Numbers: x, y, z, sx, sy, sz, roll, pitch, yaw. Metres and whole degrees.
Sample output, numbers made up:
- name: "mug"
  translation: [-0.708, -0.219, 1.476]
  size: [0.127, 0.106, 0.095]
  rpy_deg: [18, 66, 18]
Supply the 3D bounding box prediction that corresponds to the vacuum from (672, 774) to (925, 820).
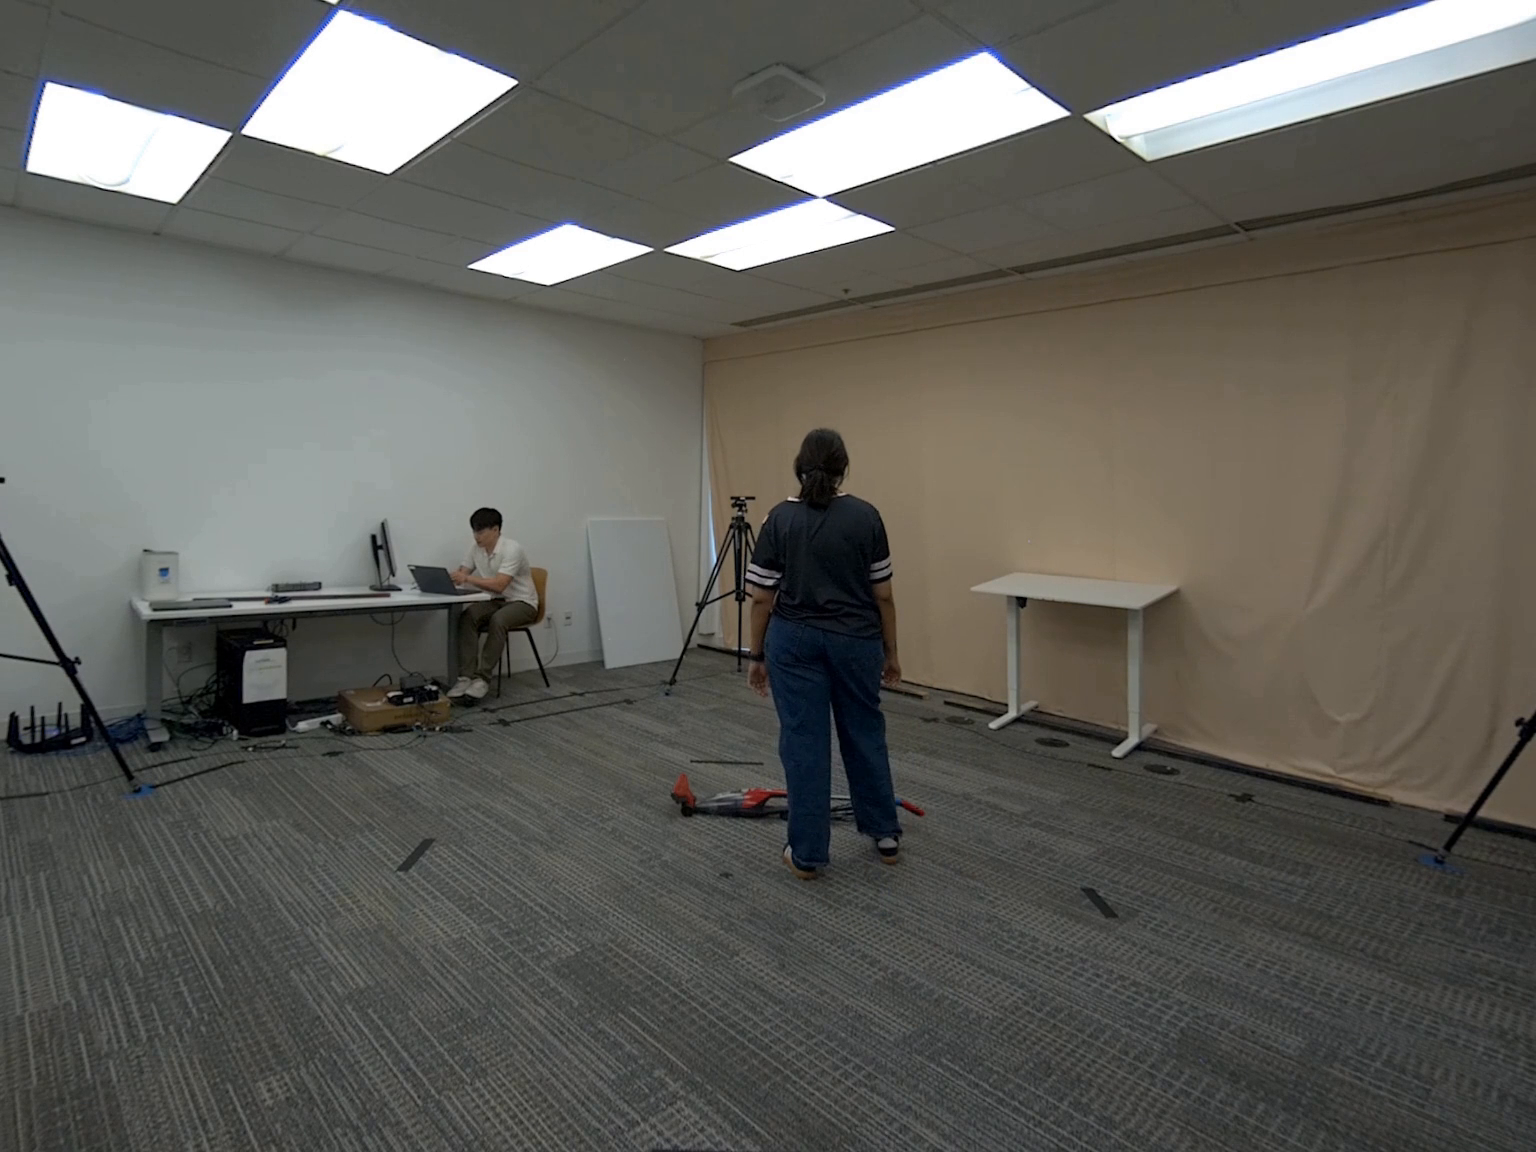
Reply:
- name: "vacuum"
  translation: [0.135, 1.000, 3.669]
  size: [1.054, 0.143, 0.252]
  rpy_deg: [2, 5, 5]
